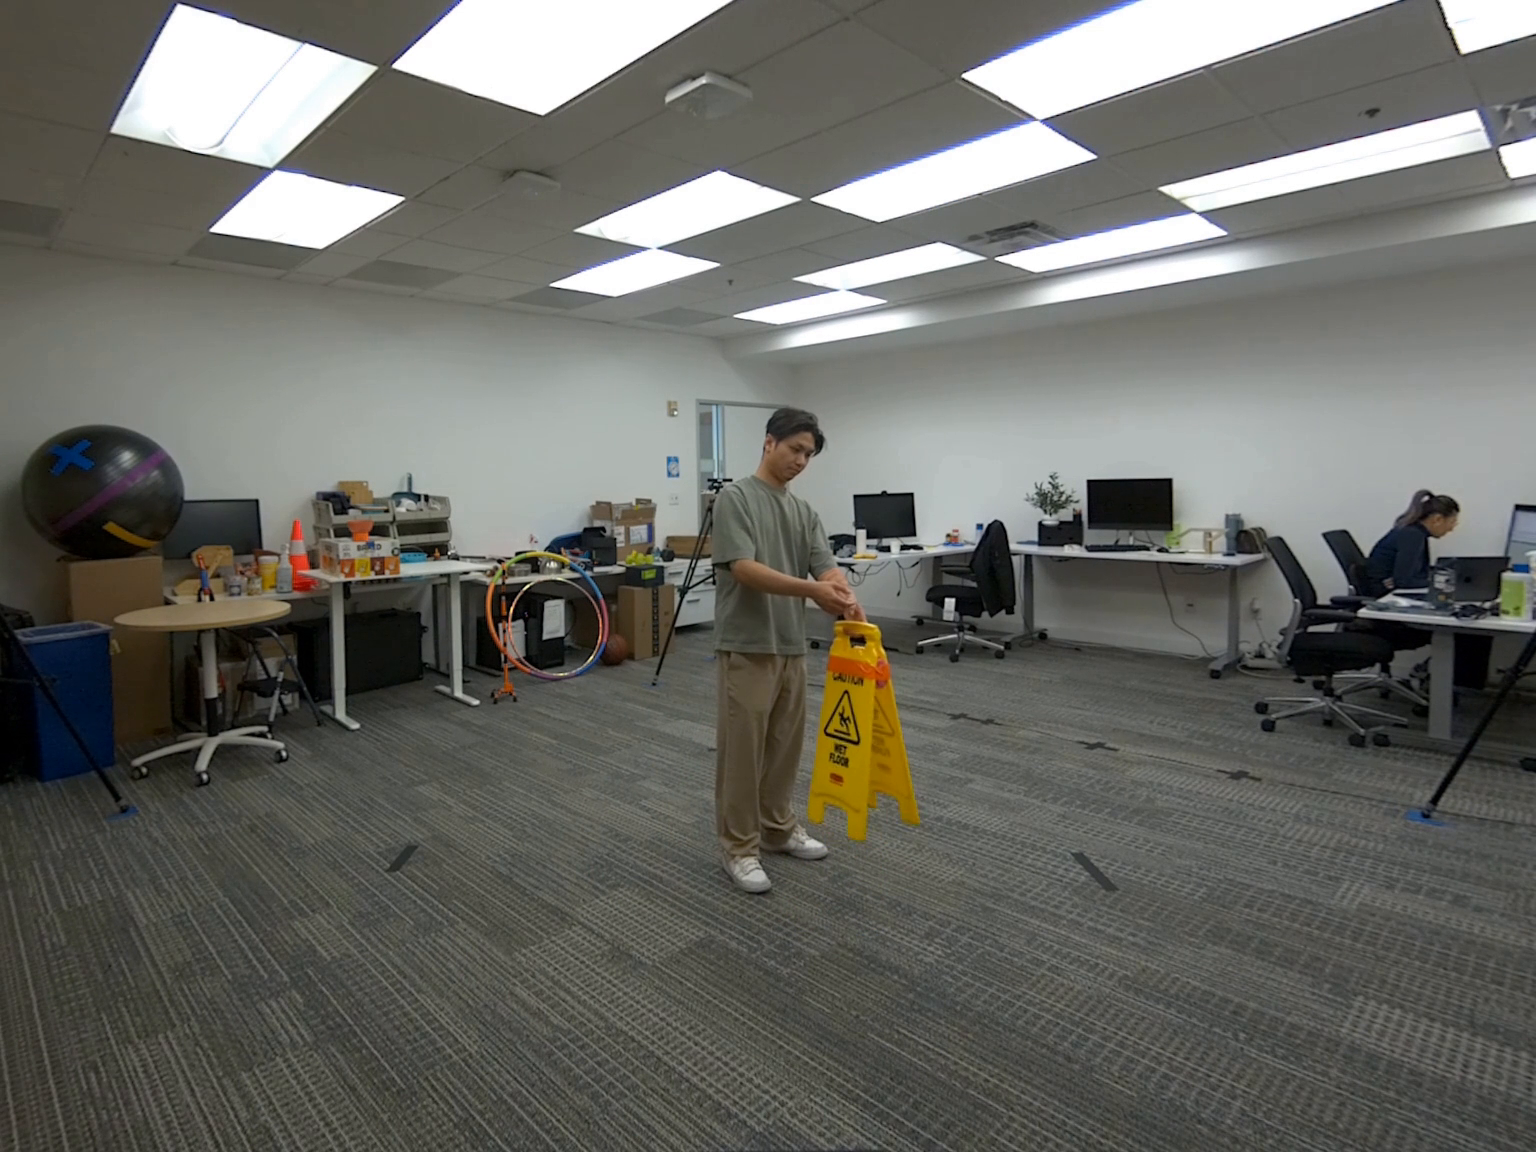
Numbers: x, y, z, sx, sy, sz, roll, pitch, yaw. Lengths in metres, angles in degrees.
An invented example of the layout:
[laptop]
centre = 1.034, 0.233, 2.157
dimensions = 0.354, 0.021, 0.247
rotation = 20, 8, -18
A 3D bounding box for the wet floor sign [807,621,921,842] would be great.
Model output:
[wet floor sign]
centre = 0.300, 0.480, 2.778
dimensions = 0.283, 0.646, 0.289
rotation = -4, 1, -32
